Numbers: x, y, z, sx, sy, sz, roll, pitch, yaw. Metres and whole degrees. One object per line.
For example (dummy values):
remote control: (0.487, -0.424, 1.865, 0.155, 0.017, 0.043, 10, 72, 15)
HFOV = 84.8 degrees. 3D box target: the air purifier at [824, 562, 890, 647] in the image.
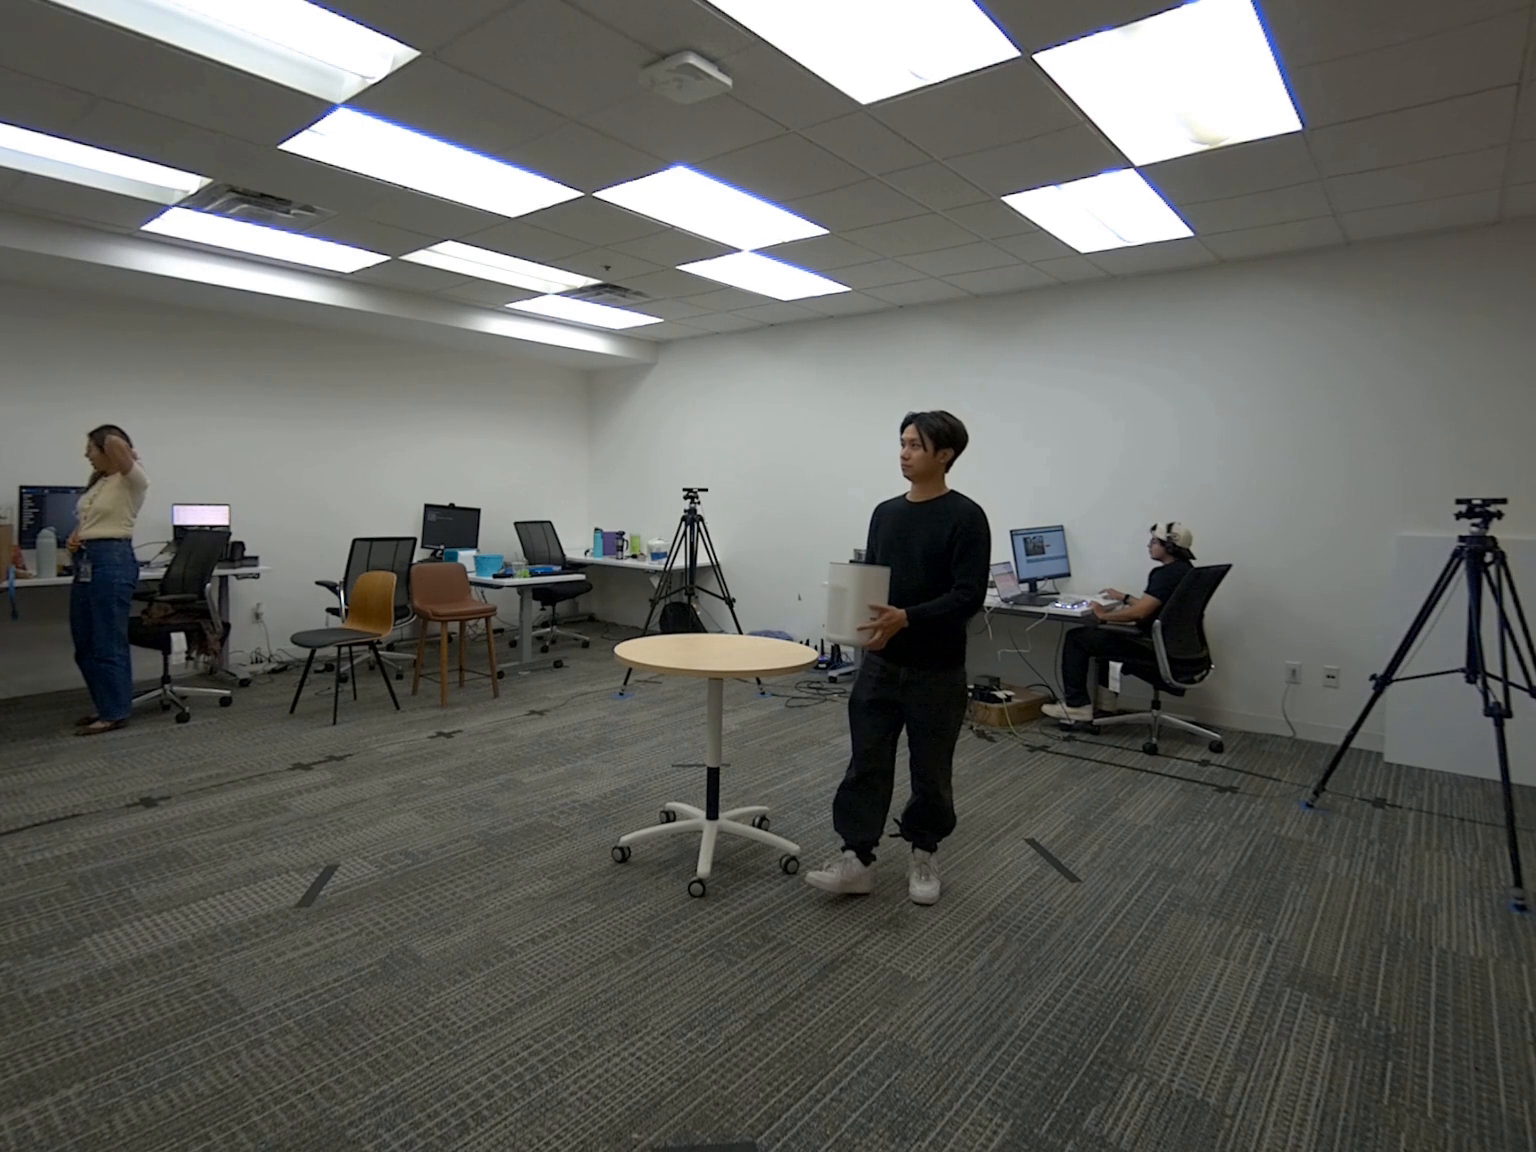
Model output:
air purifier: (0.288, 0.091, 2.795, 0.165, 0.266, 0.177, 5, -1, -36)
